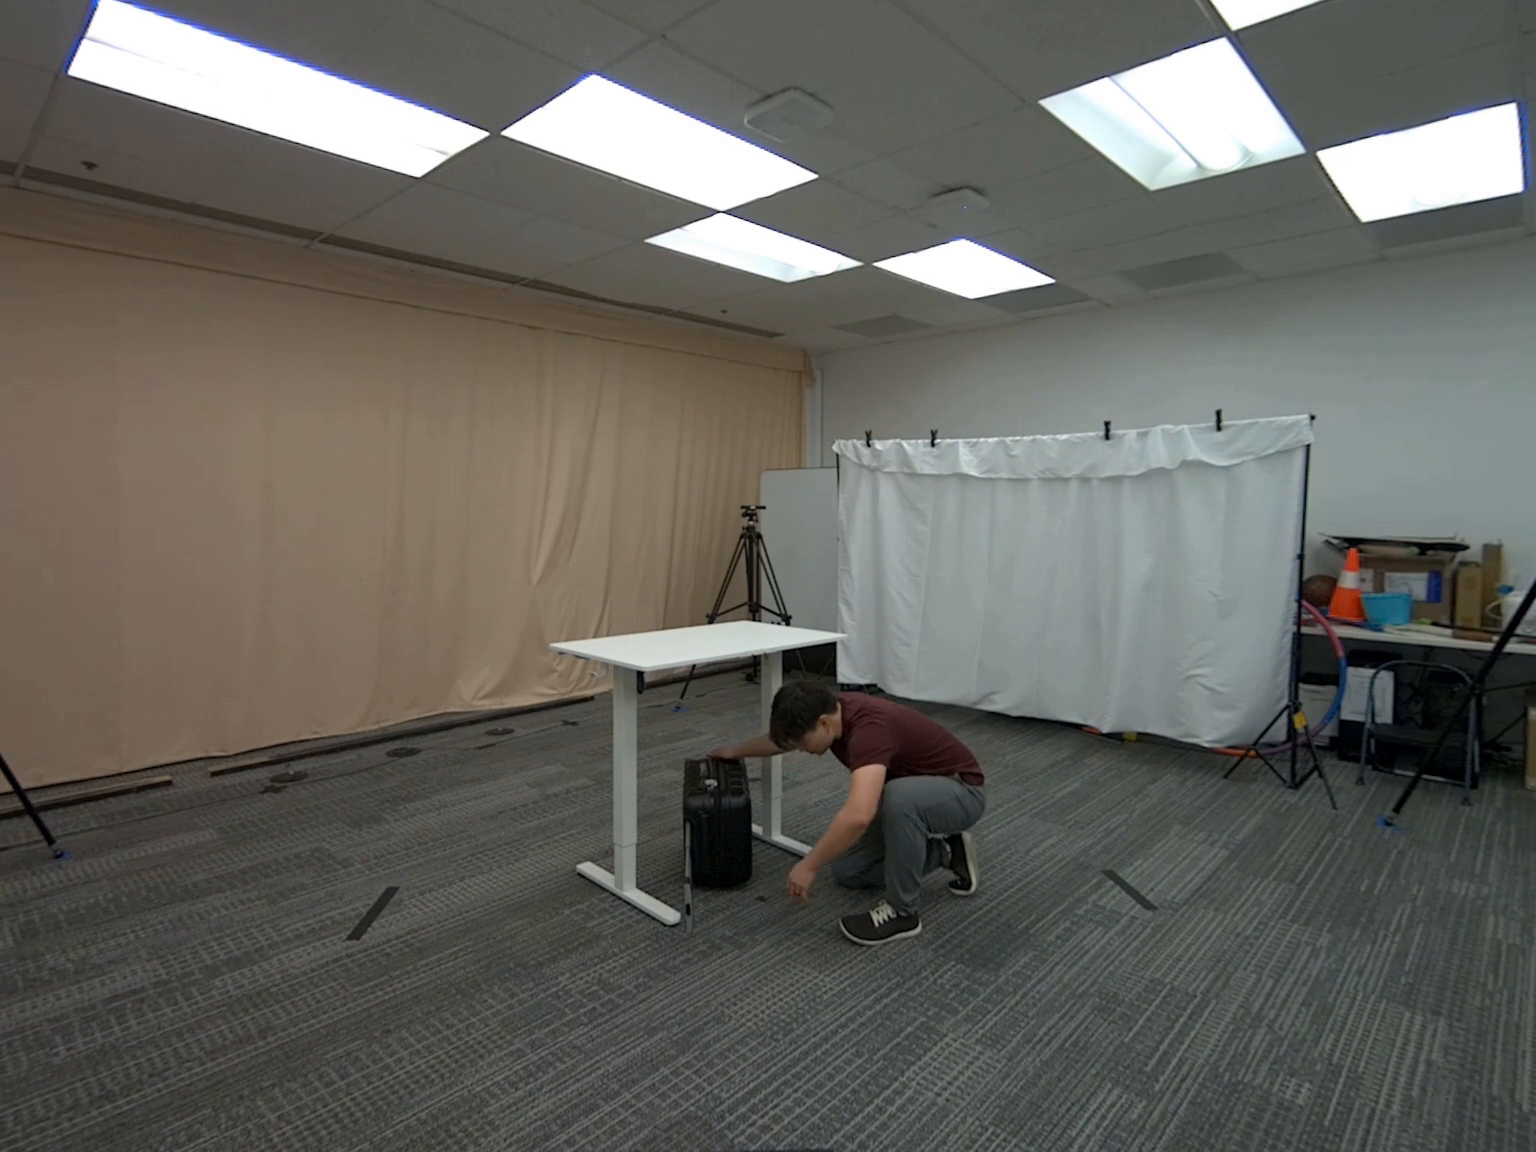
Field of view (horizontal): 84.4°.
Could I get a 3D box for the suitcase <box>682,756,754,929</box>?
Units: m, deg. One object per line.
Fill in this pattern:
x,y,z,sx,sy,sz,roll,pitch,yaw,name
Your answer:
-0.168,0.947,3.052,0.256,0.383,0.986,-2,5,-6,suitcase
